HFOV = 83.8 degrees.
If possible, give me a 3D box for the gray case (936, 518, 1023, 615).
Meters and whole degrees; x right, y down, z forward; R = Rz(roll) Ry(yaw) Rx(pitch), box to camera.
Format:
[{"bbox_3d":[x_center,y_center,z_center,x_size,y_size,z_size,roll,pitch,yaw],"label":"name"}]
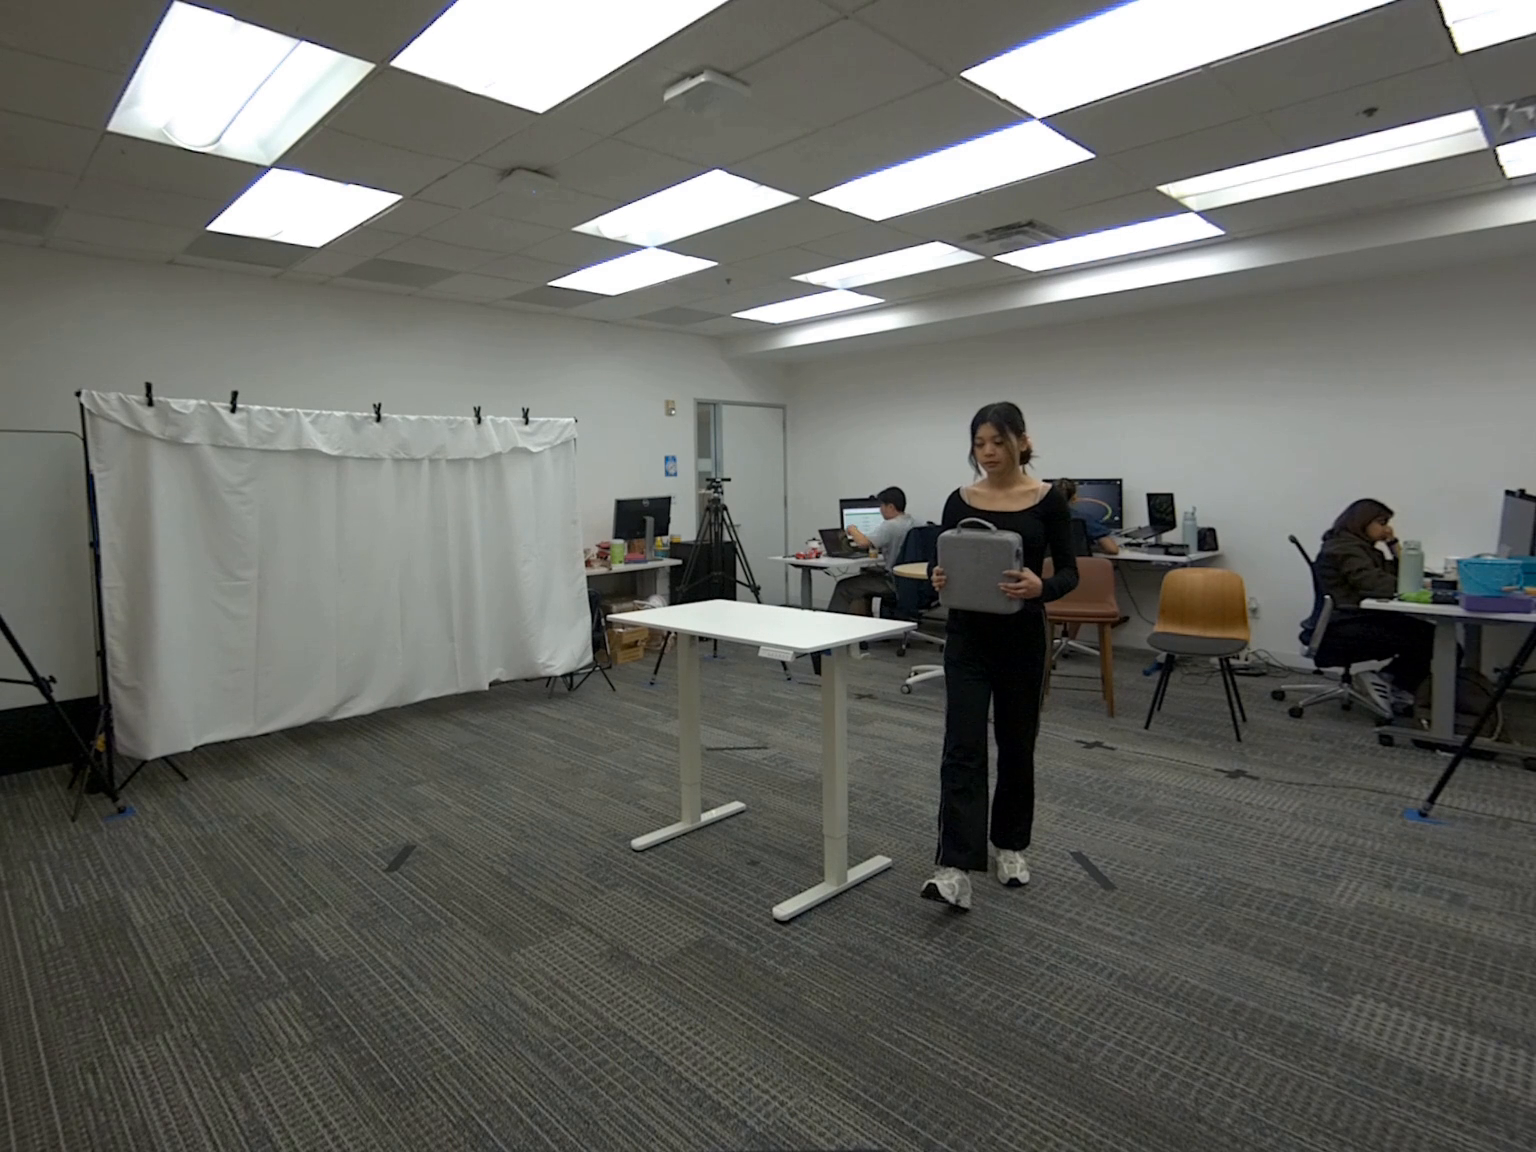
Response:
[{"bbox_3d":[0.680,-0.021,2.707,0.265,0.258,0.102,5,15,41],"label":"gray case"}]
